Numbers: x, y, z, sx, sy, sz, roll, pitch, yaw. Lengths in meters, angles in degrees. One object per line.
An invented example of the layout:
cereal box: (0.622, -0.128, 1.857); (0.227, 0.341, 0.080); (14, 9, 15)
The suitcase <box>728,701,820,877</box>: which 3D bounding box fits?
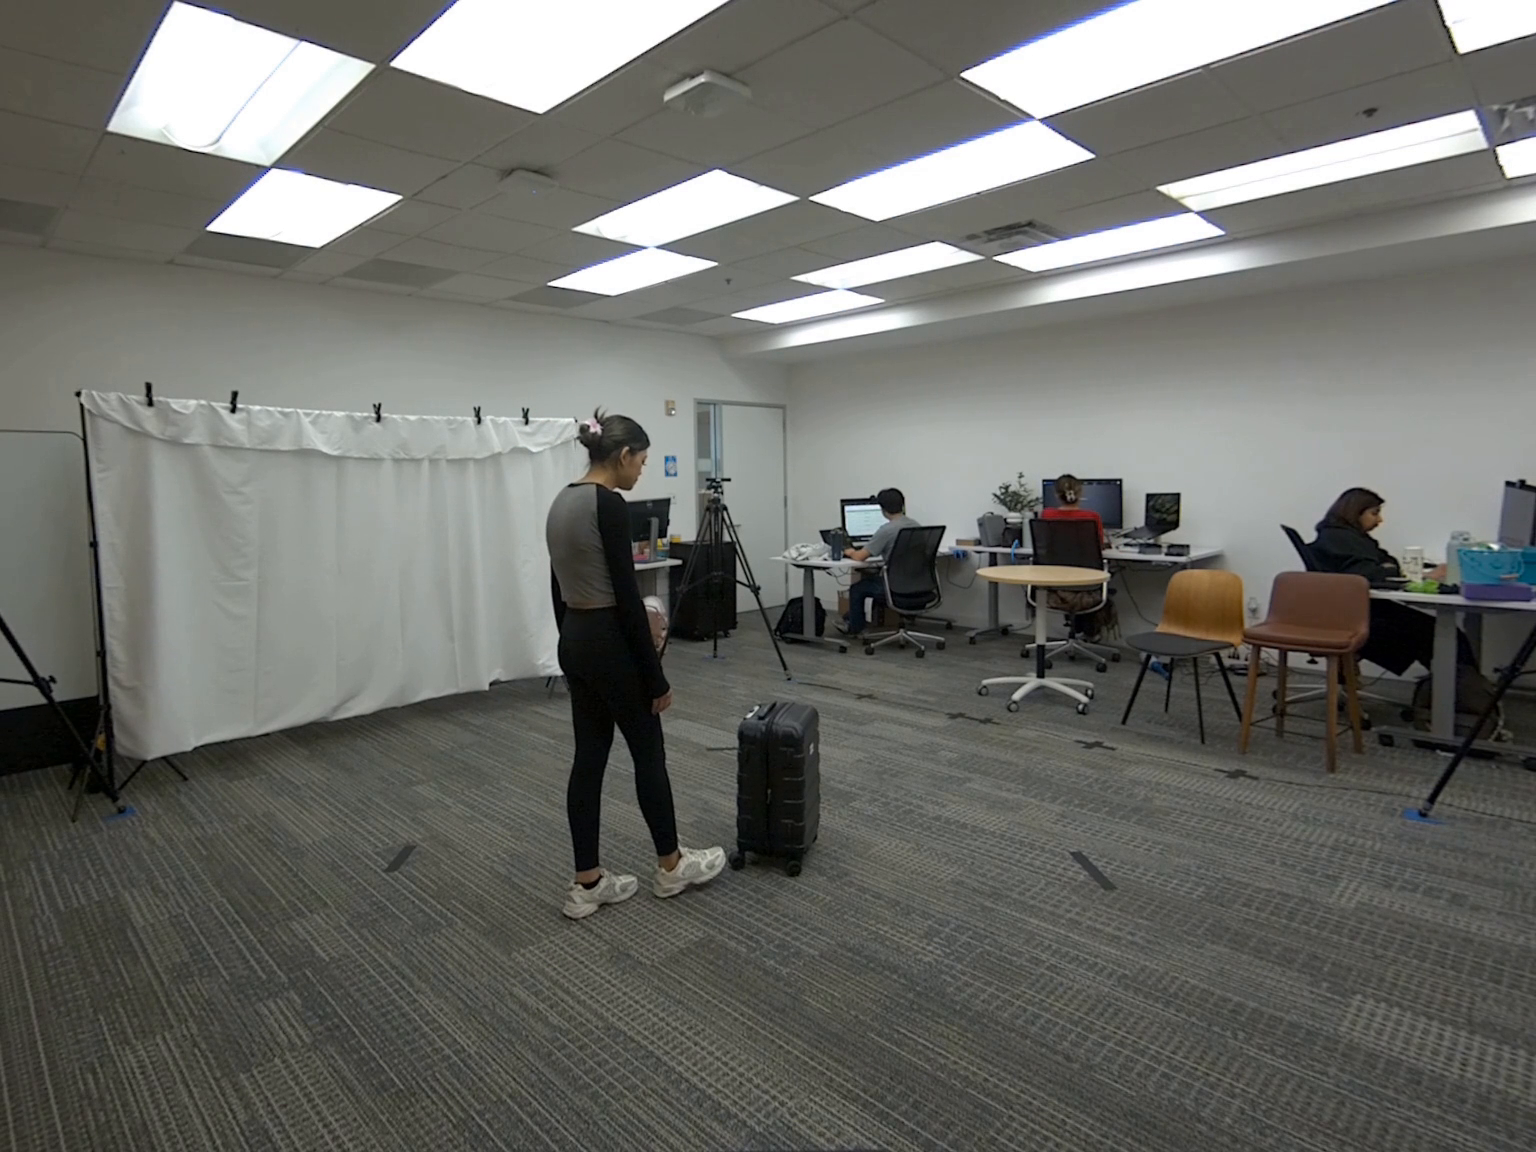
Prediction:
suitcase: (0.045, 0.758, 3.168); (0.253, 0.547, 0.370); (2, 4, 17)
